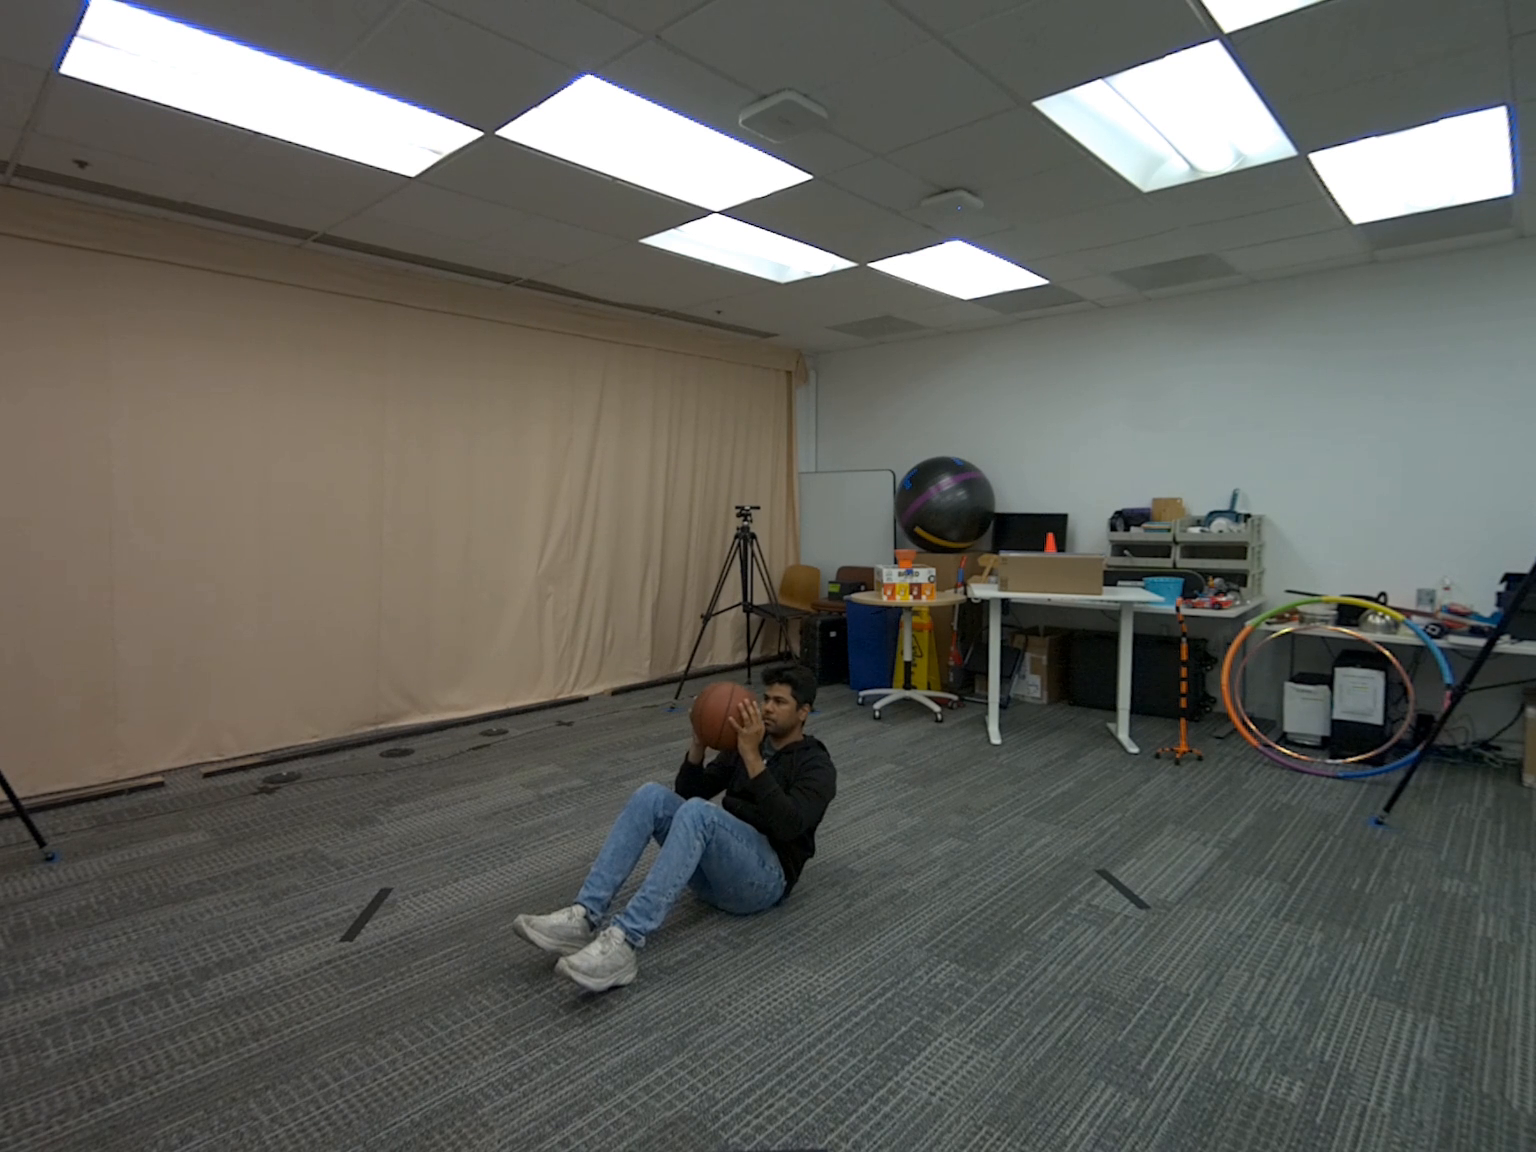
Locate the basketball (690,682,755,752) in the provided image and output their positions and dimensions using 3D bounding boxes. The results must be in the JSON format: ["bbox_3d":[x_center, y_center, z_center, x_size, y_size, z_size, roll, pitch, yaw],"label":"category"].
[{"bbox_3d":[-0.135,0.487,2.917,0.236,0.235,0.237,0,4,-2],"label":"basketball"}]
